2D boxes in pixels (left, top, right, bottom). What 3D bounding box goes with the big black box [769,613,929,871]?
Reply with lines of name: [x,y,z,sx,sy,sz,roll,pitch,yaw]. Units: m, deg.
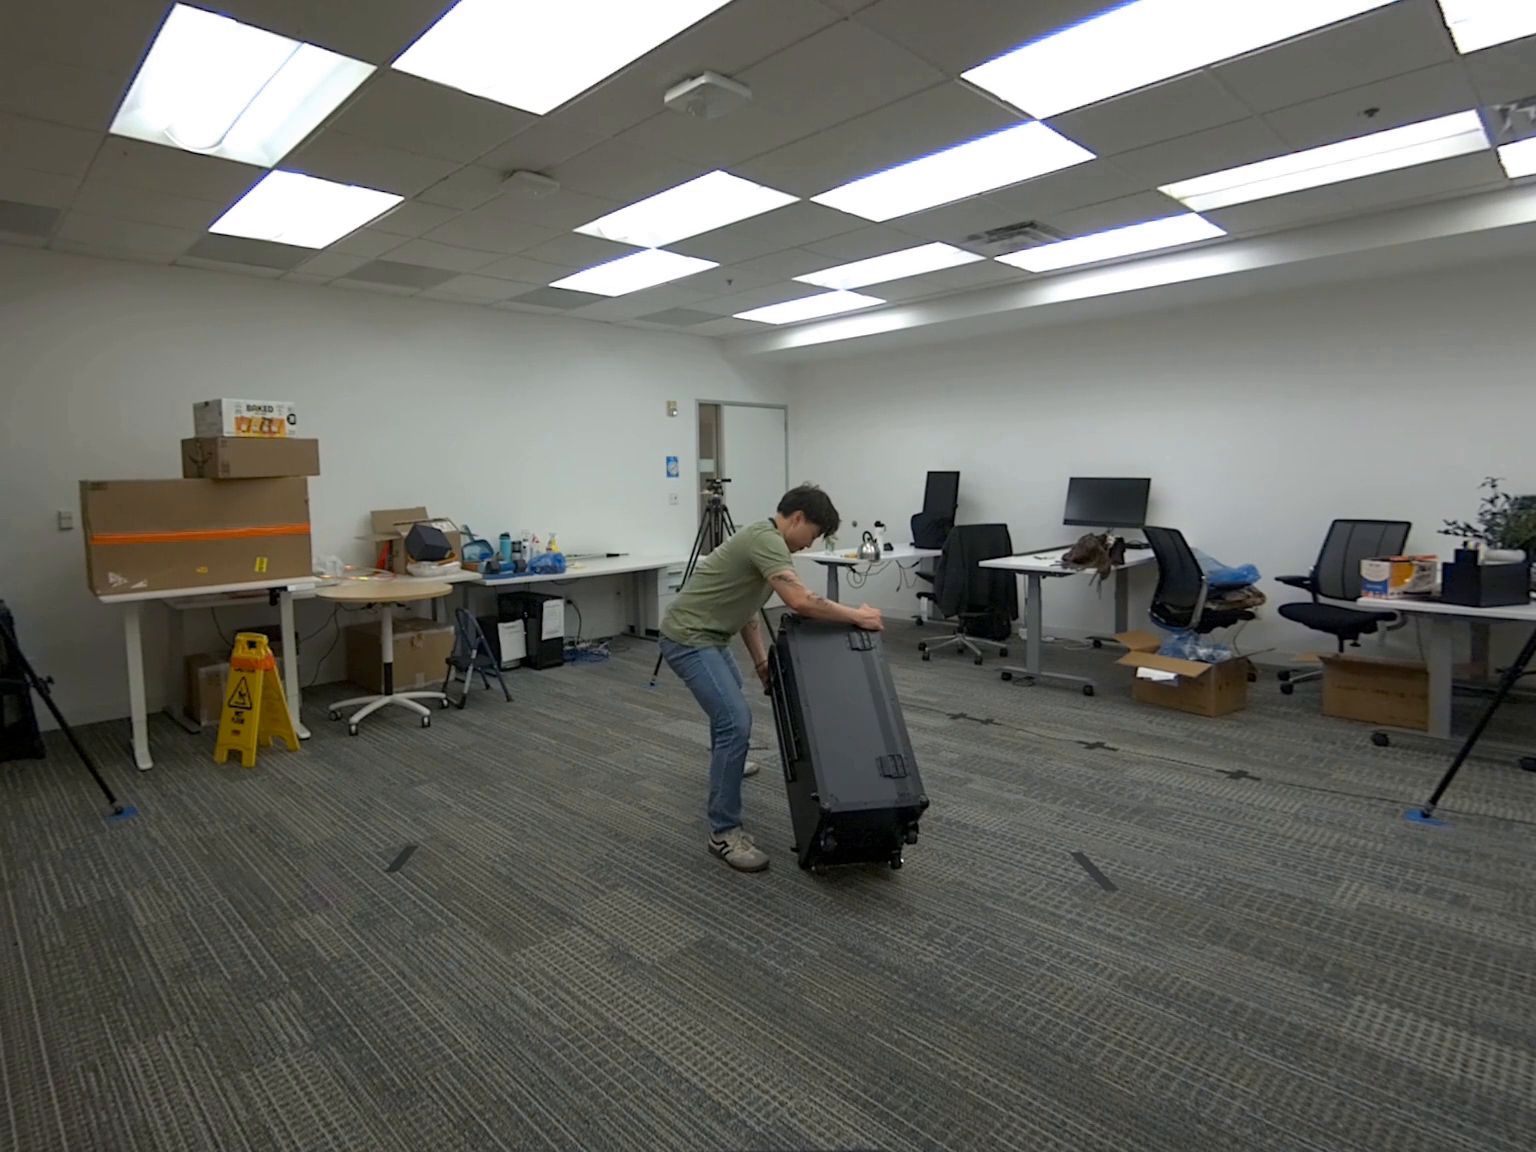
big black box: [0.254,0.612,3.128,0.393,0.889,0.509,-3,-40,-10]
